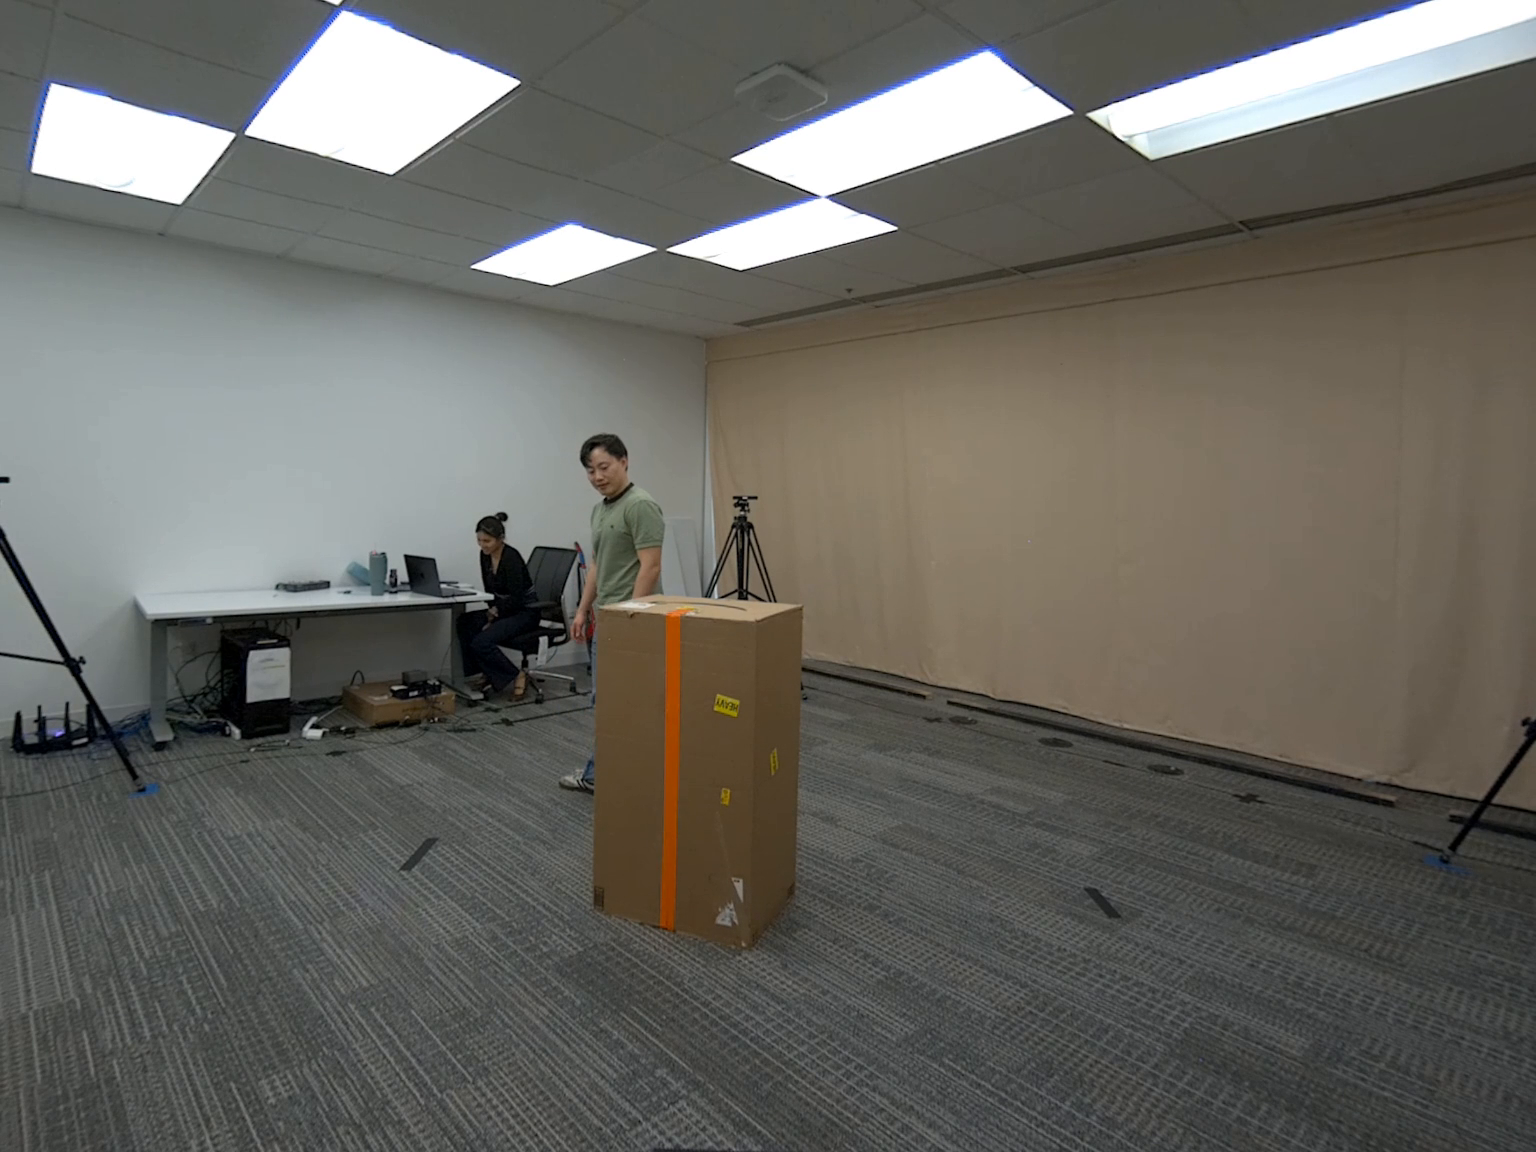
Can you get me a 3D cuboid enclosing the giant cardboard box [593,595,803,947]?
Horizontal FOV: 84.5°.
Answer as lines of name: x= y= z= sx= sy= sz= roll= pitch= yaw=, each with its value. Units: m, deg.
giant cardboard box: x=-0.237 y=0.612 z=2.855 sx=0.588 sy=1.023 sz=0.419 roll=3 pitch=4 yaw=25
